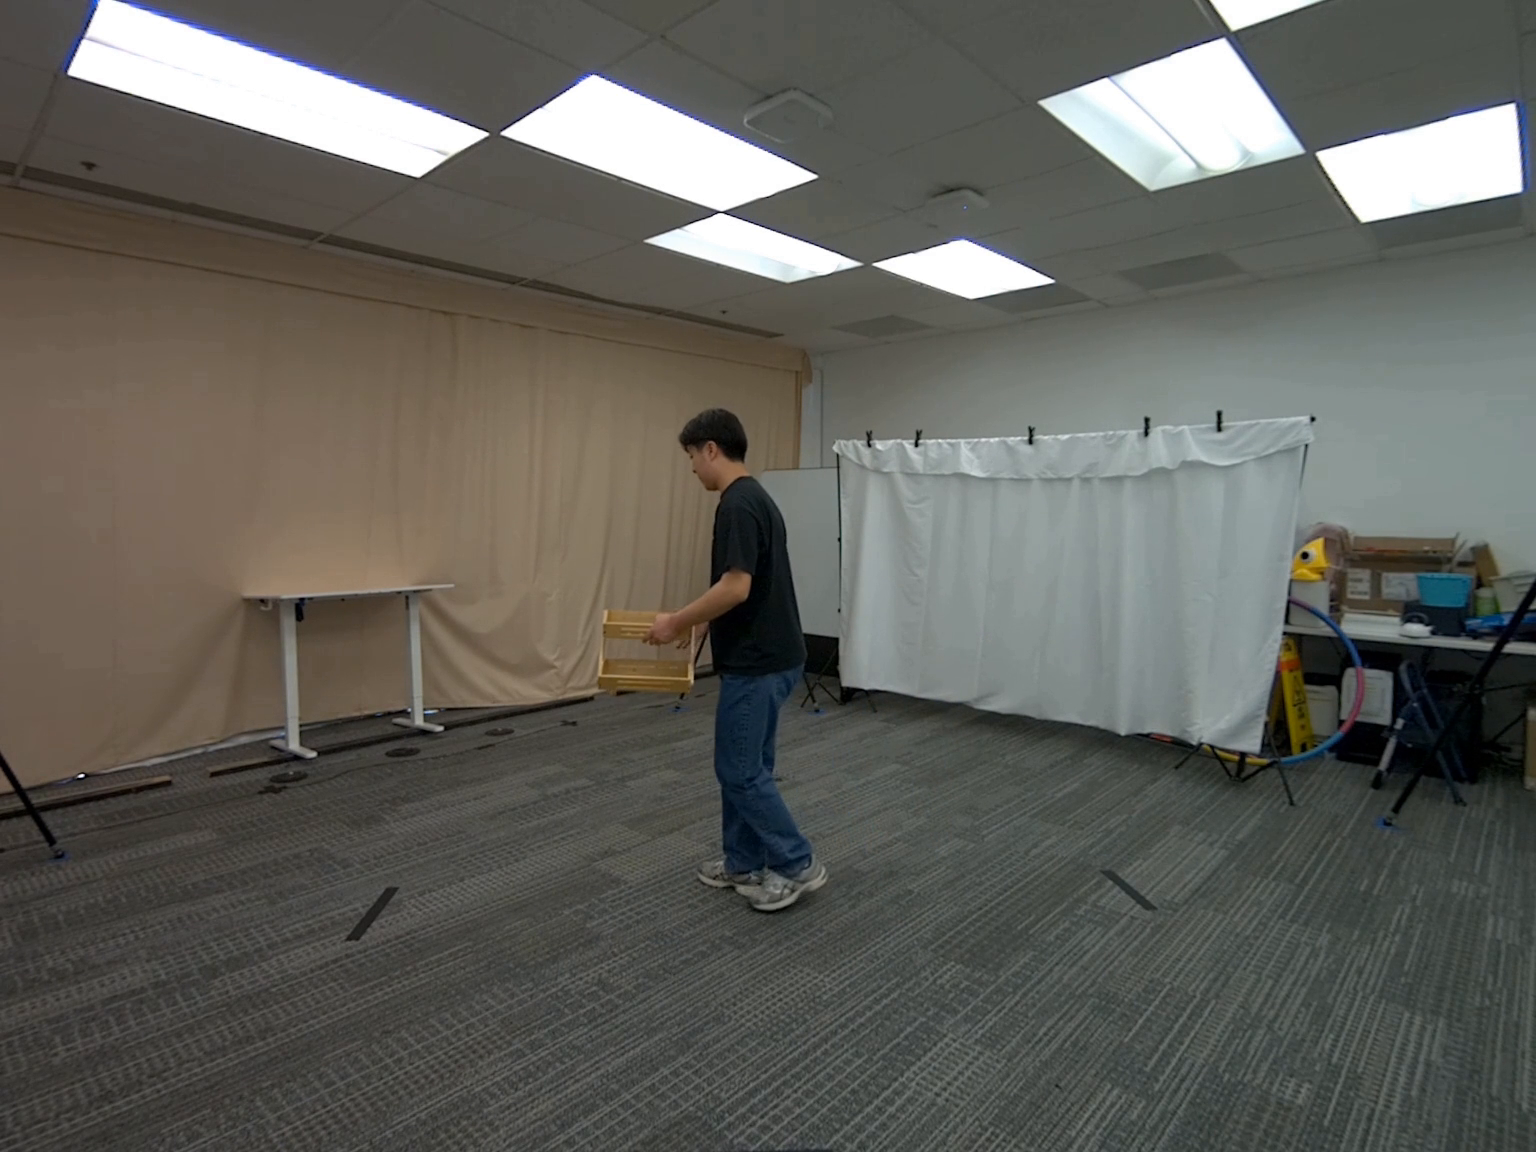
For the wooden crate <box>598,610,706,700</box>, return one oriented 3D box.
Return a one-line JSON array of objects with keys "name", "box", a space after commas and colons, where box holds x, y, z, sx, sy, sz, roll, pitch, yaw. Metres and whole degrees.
[{"name": "wooden crate", "box": [-0.409, 0.258, 2.896, 0.323, 0.274, 0.303, 2, -4, -5]}]
